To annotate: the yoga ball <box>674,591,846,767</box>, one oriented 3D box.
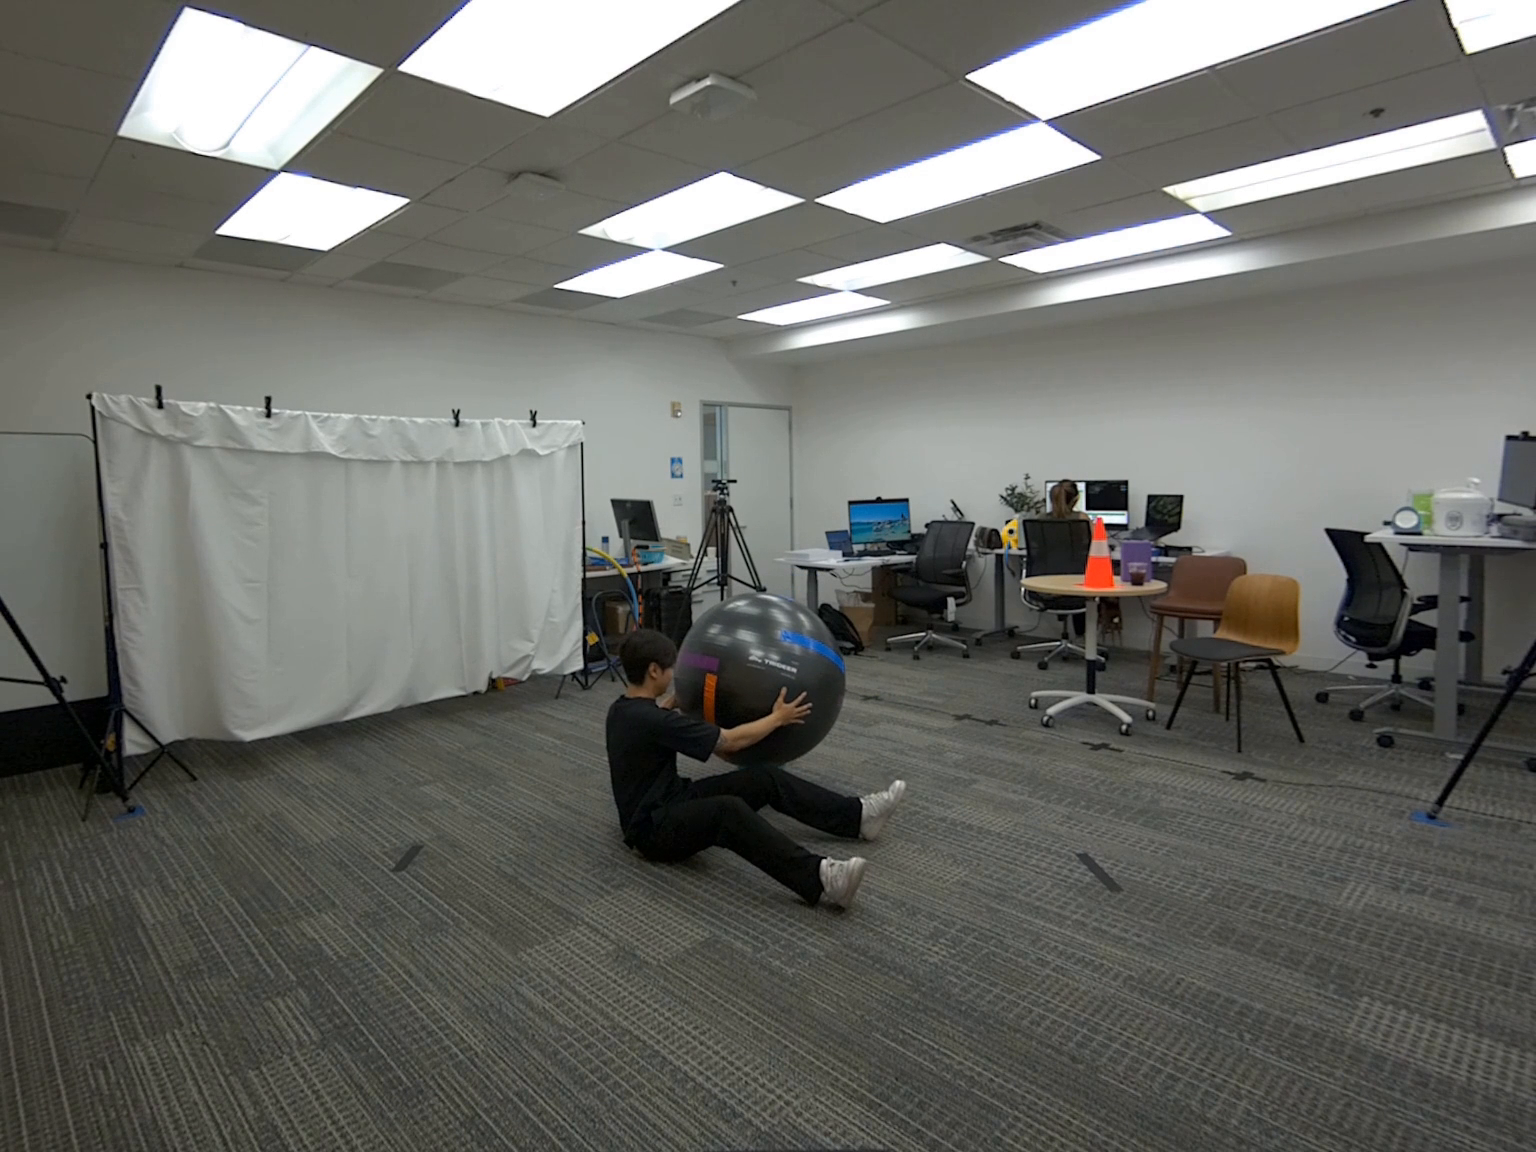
[{"bbox_3d":[-0.035,0.469,3.800,0.757,0.755,0.762,-1,5,-2],"label":"yoga ball"}]
